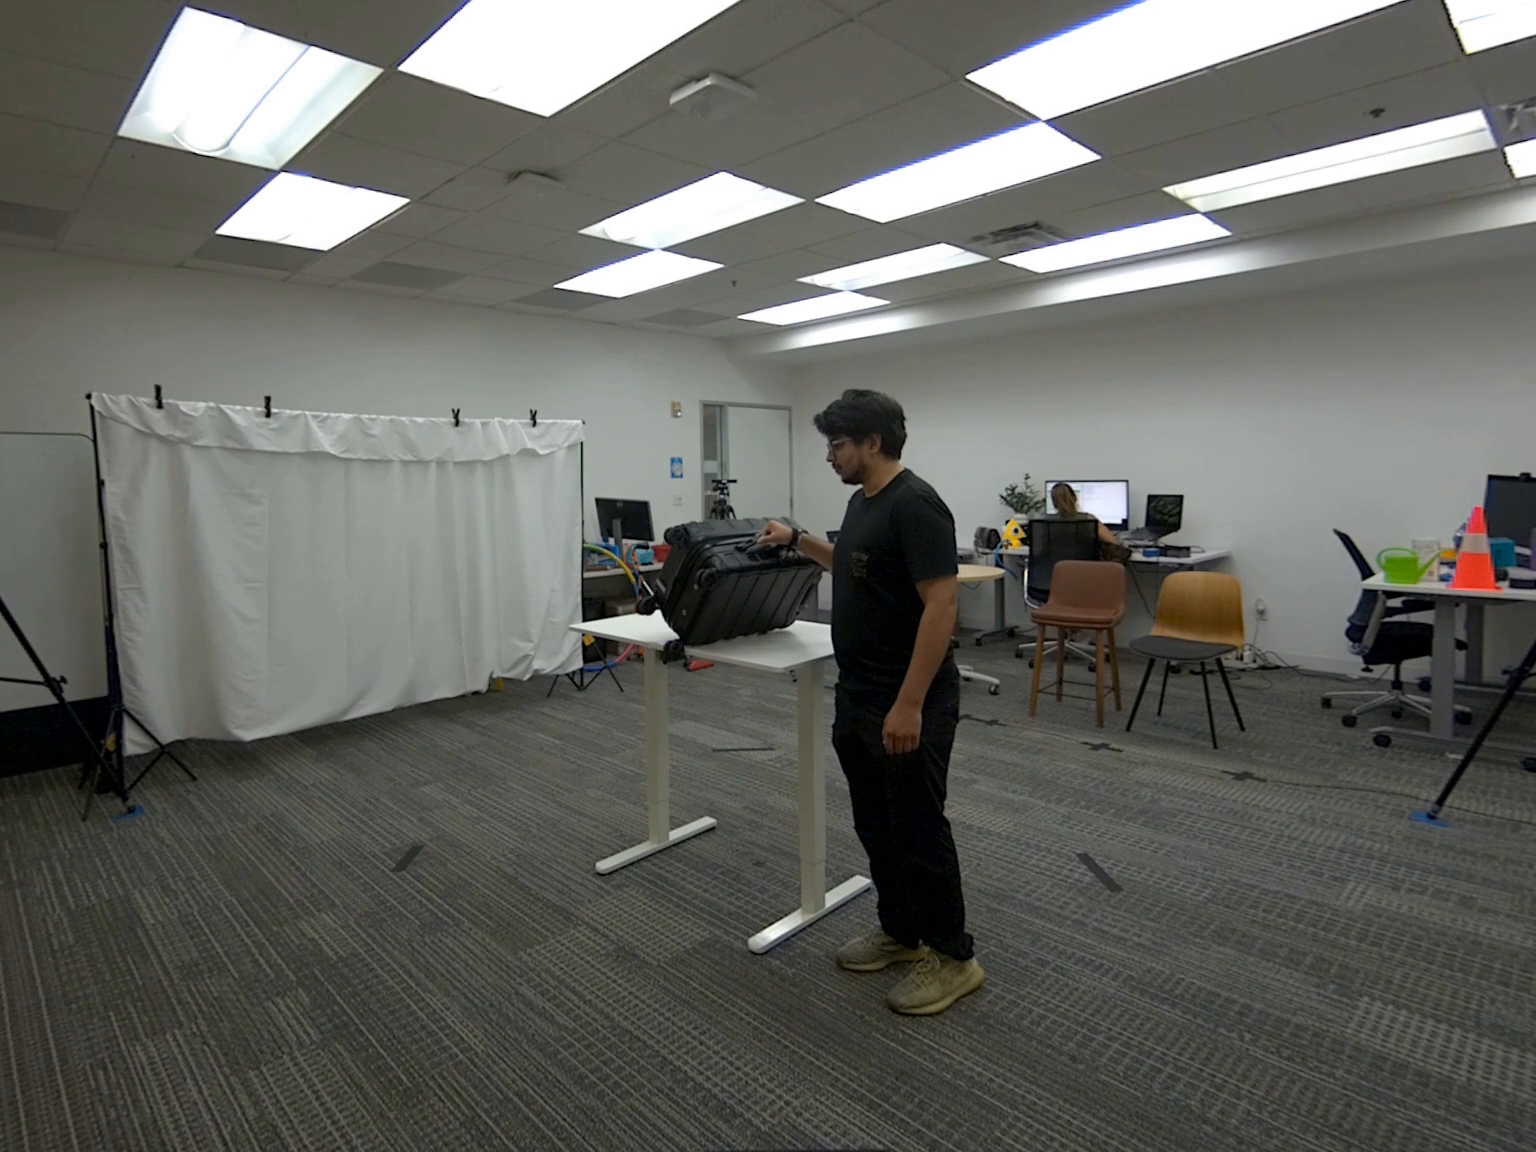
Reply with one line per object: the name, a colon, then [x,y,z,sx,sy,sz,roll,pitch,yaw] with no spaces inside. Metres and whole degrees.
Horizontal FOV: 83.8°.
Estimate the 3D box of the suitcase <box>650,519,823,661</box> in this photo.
suitcase: [-0.096,0.008,2.750,0.535,0.371,0.258,-8,43,-40]
